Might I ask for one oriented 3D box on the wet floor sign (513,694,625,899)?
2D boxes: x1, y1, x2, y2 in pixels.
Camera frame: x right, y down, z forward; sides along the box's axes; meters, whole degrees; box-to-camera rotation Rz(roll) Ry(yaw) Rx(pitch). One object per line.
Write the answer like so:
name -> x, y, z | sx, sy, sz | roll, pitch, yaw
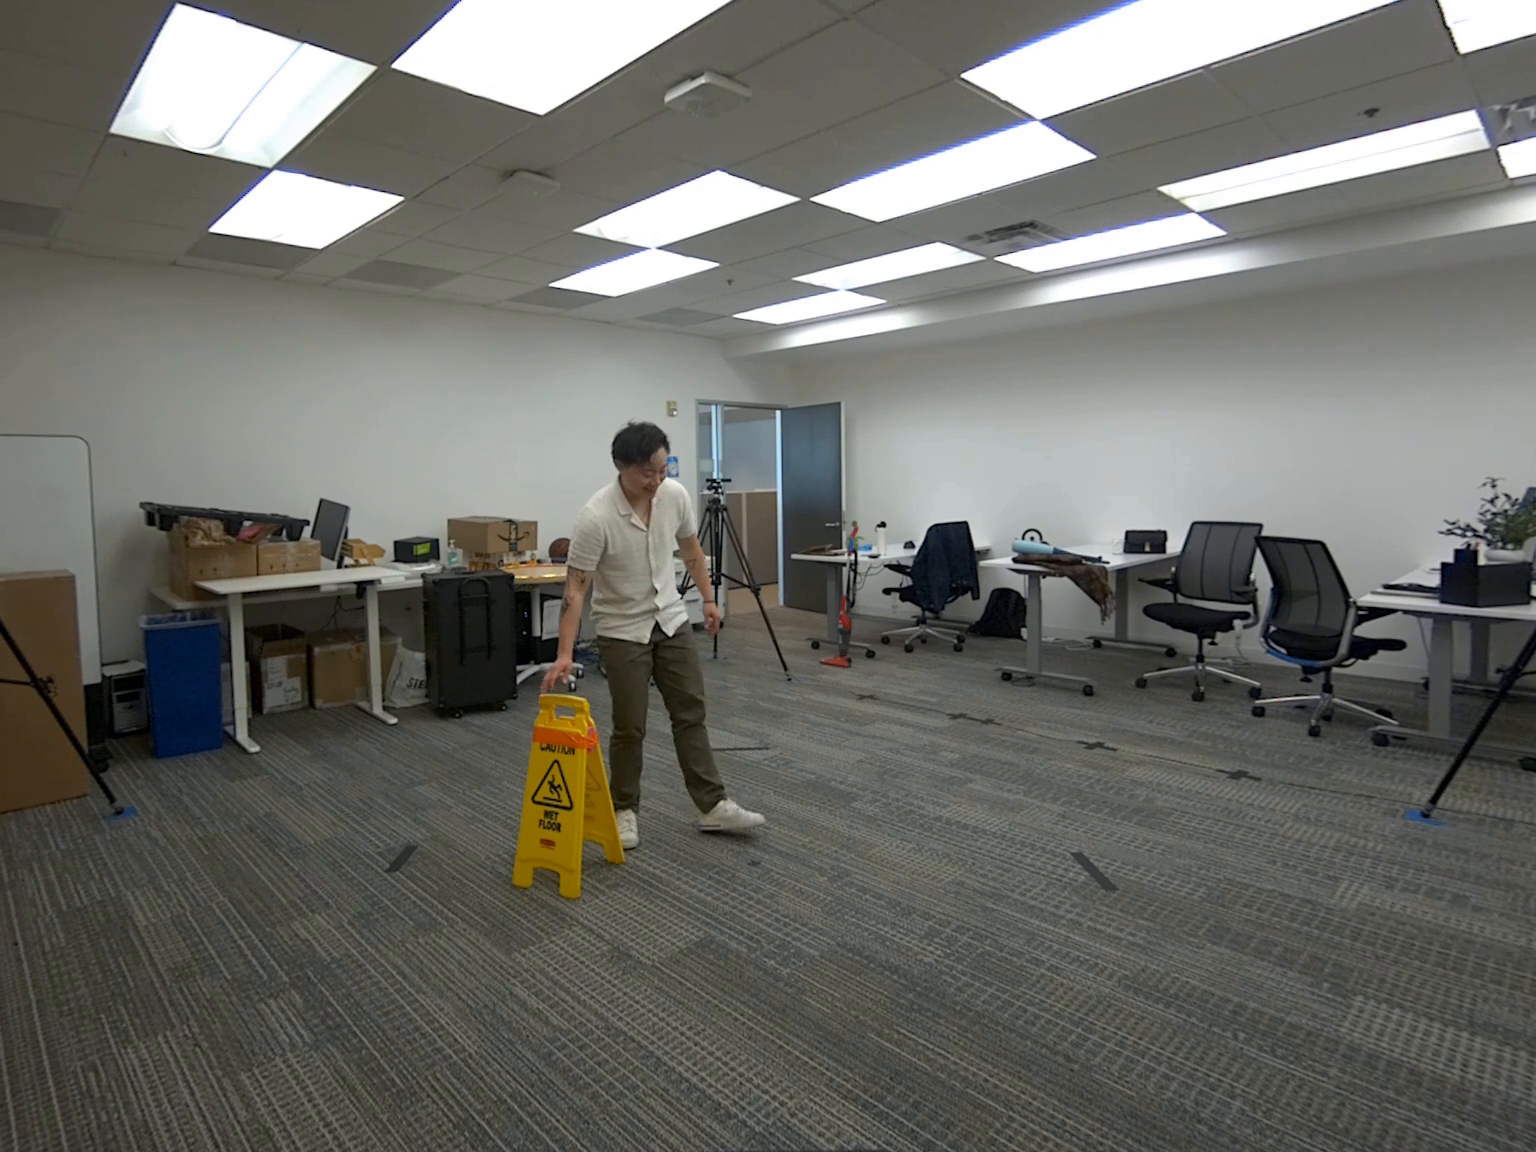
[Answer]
wet floor sign -> -0.715, 0.744, 3.028 | 0.289, 0.643, 0.284 | 0, 5, 25
